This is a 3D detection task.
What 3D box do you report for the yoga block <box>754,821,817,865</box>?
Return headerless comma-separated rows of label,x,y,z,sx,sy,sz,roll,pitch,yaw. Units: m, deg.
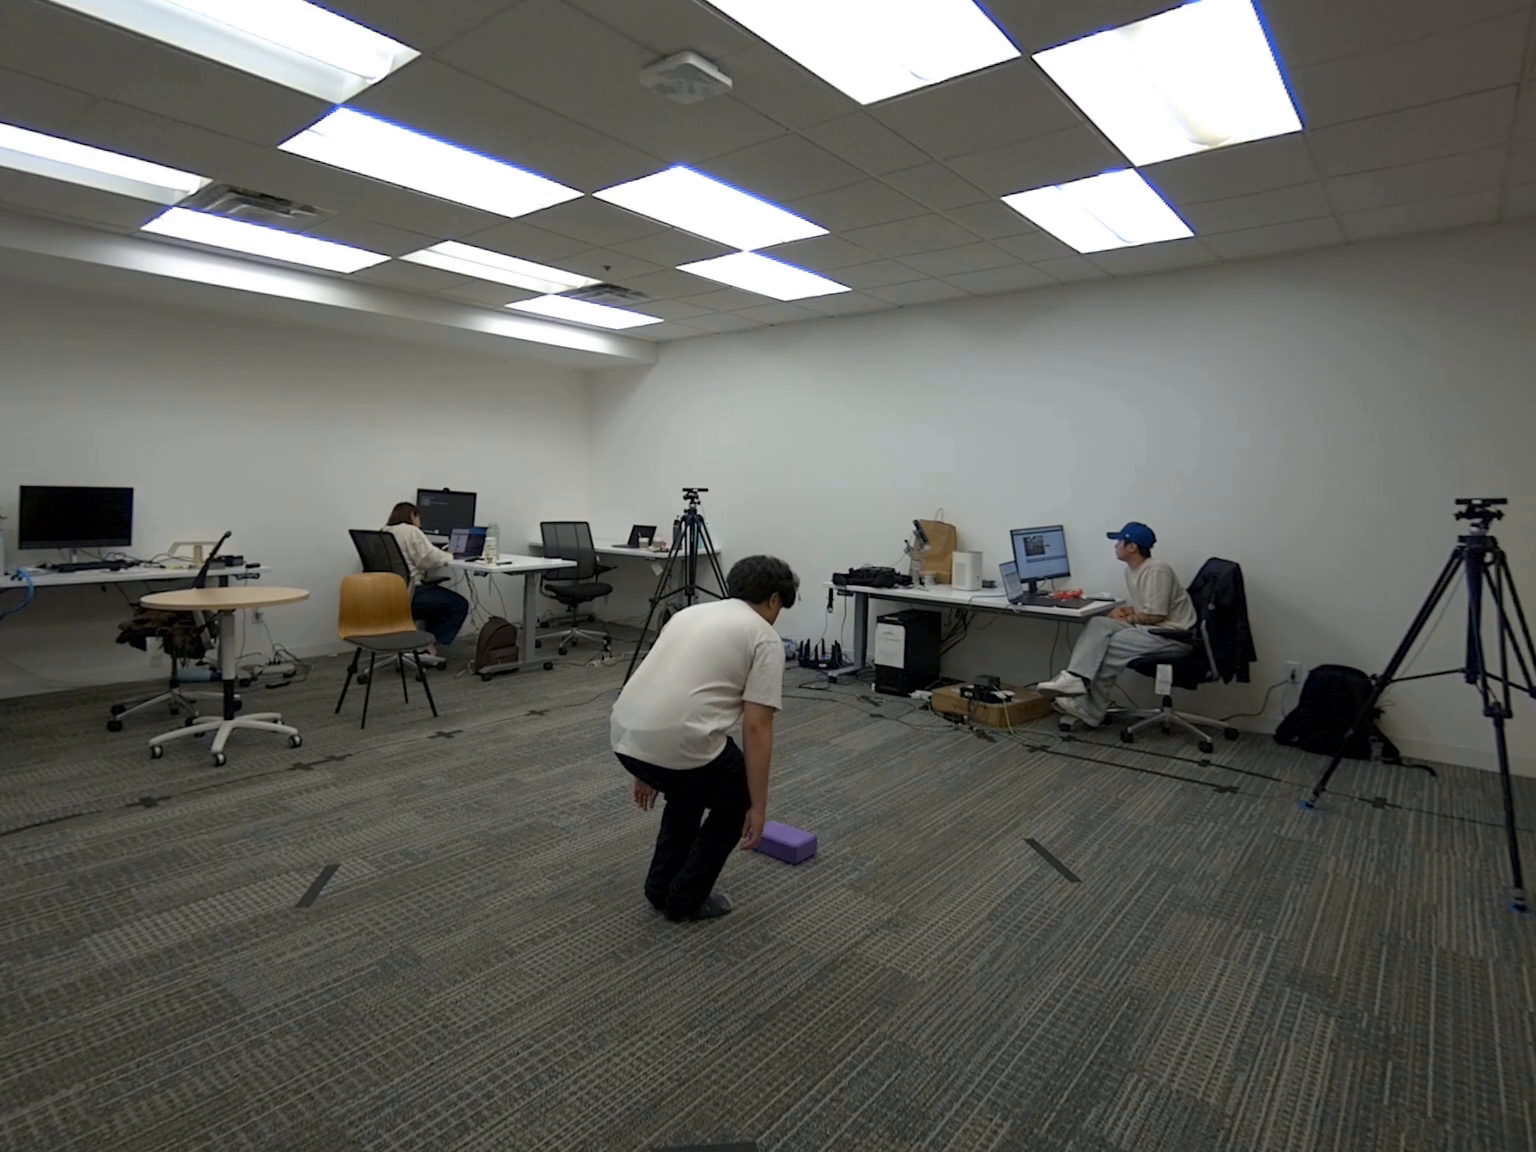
yoga block,0.050,1.019,3.274,0.237,0.076,0.144,5,6,38
